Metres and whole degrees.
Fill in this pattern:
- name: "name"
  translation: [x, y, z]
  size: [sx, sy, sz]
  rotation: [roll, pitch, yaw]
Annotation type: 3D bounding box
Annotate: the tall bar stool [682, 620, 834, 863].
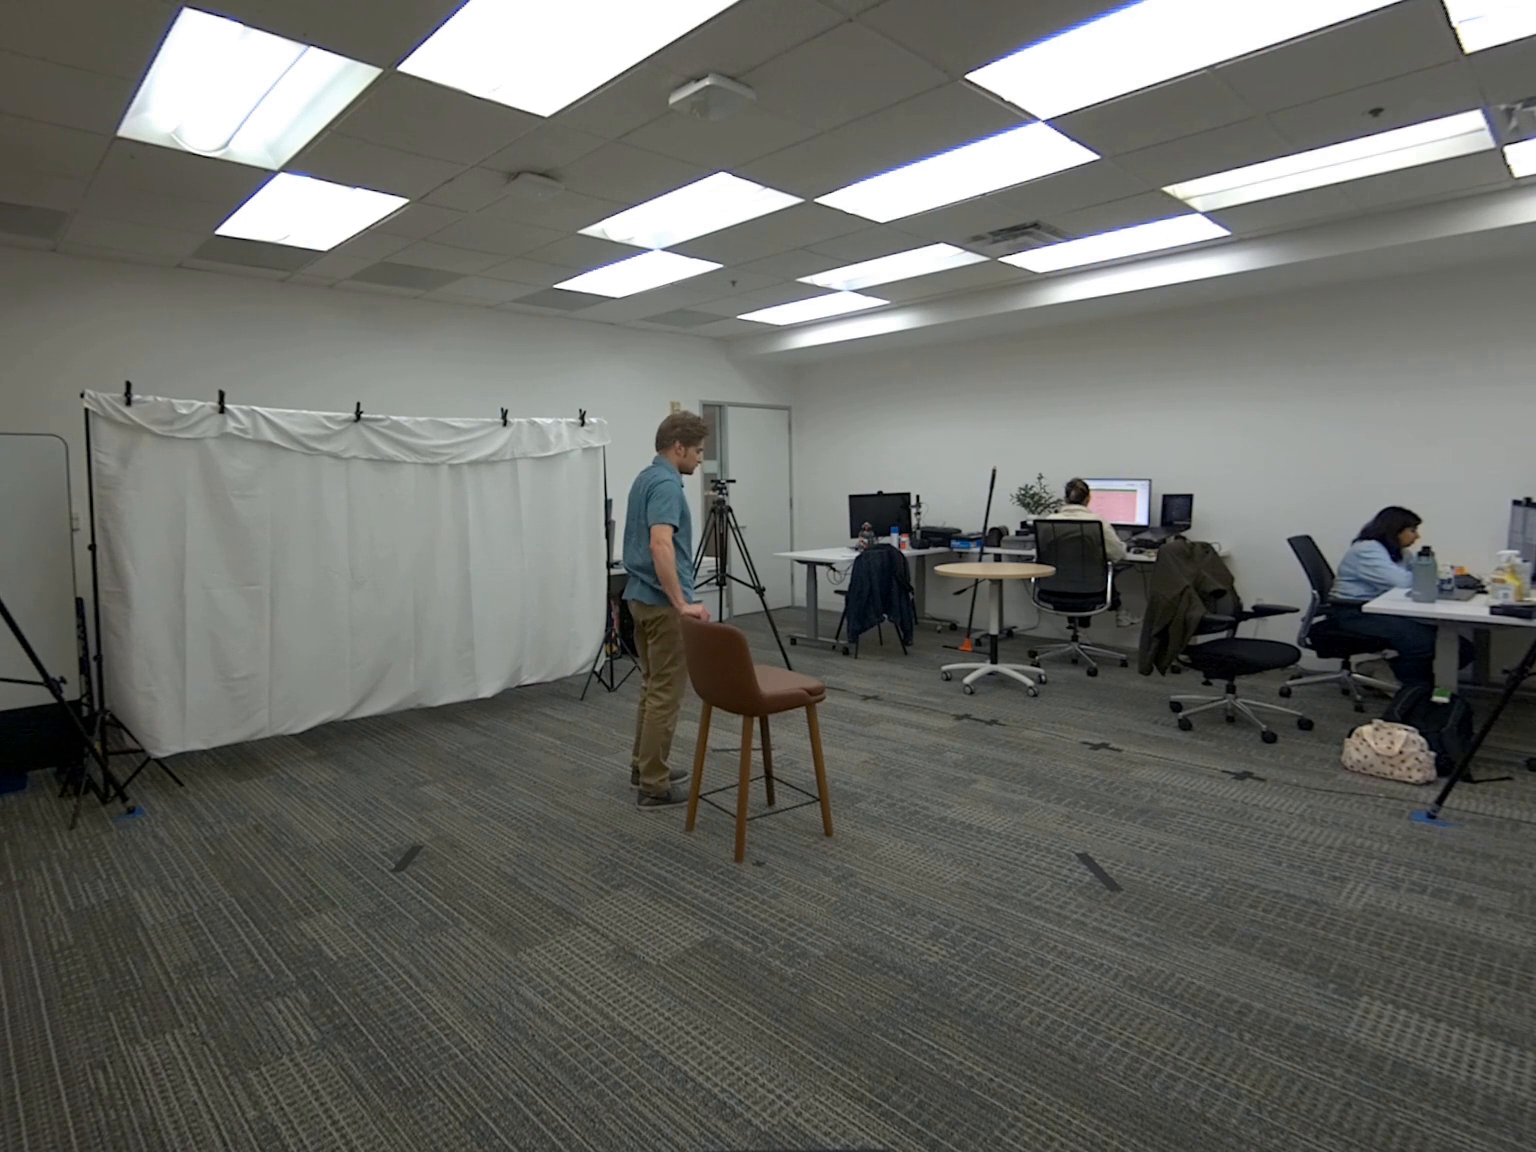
- name: "tall bar stool"
  translation: [-0.052, 0.585, 3.358]
  size: [0.456, 0.886, 0.470]
  rotation: [-6, 6, -35]
